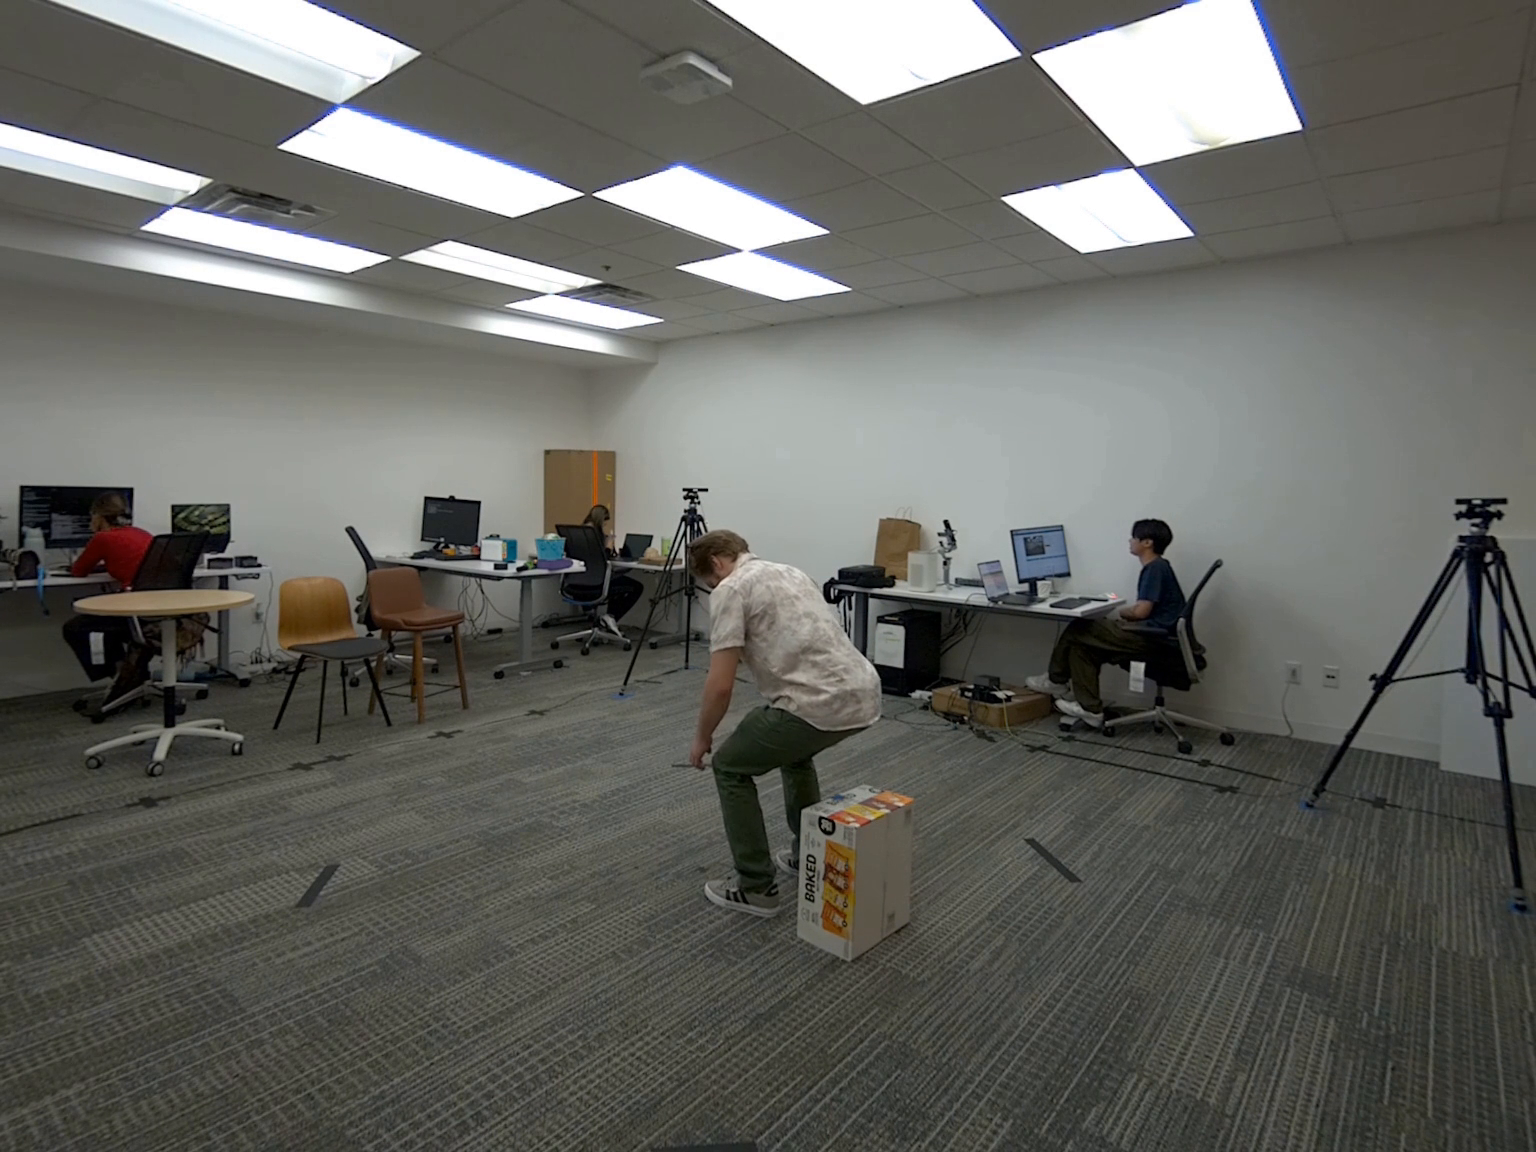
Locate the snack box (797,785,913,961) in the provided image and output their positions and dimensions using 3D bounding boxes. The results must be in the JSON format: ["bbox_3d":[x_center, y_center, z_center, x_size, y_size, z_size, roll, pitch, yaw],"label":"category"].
[{"bbox_3d":[0.278,0.919,2.690,0.213,0.404,0.330,4,4,41],"label":"snack box"}]
